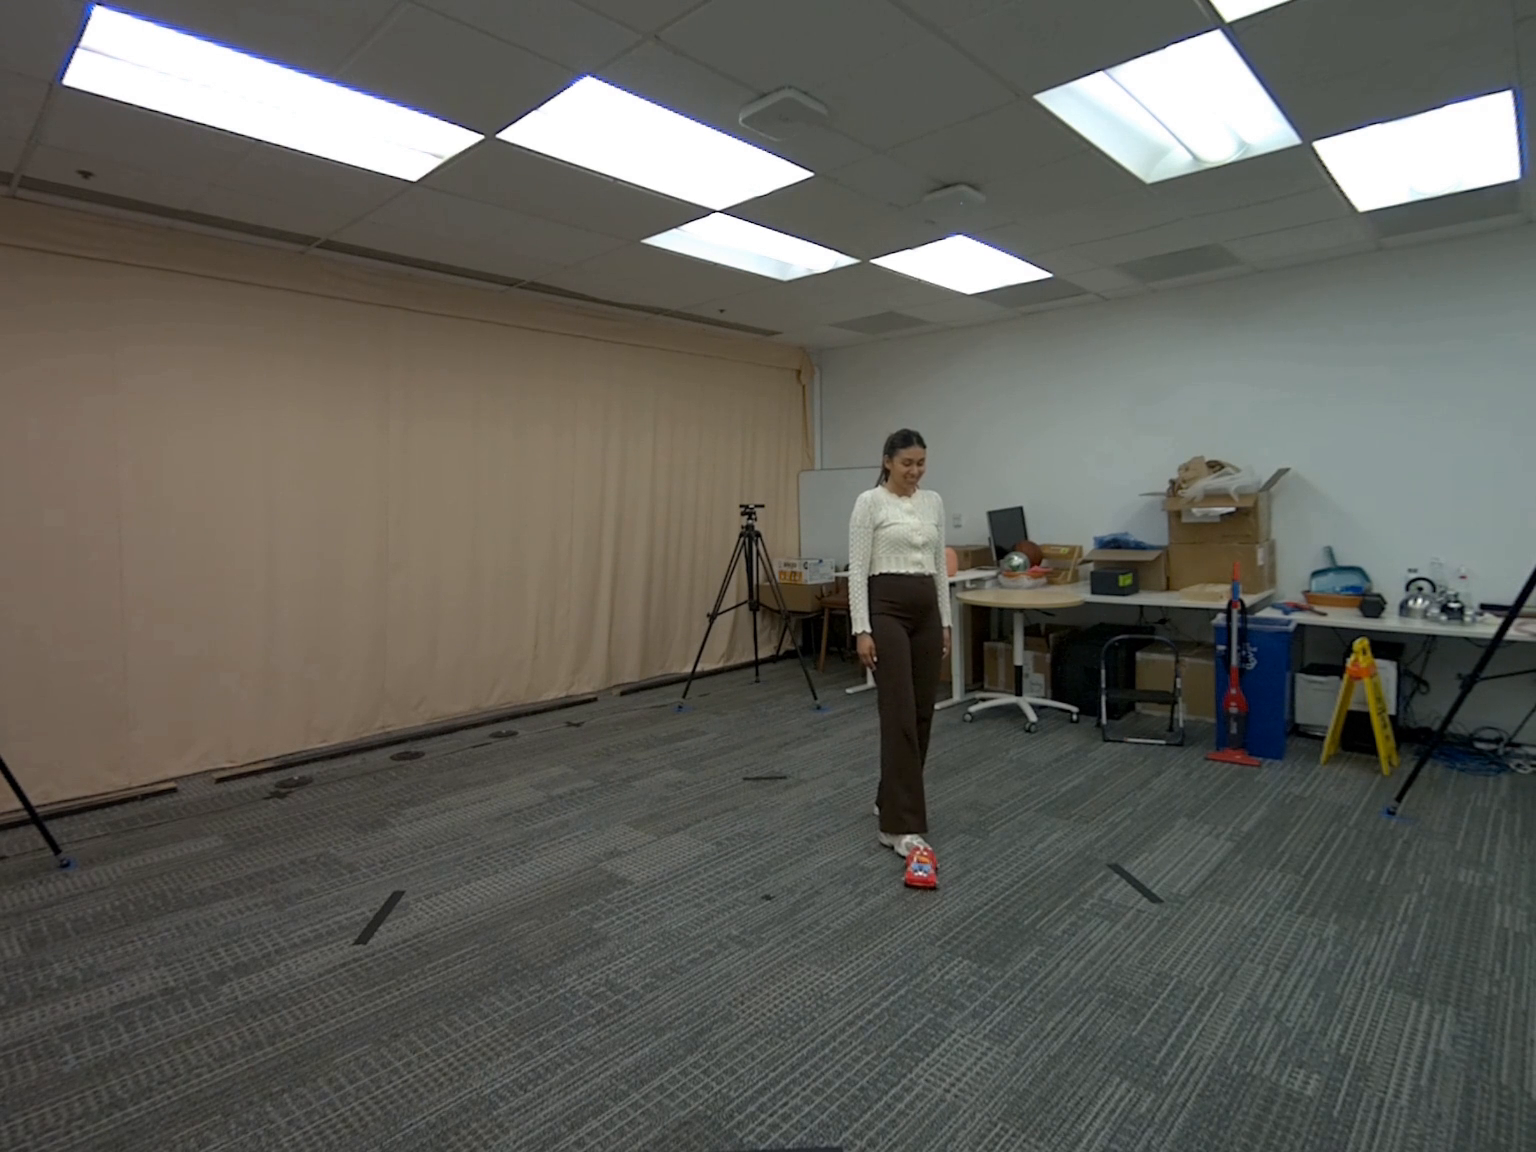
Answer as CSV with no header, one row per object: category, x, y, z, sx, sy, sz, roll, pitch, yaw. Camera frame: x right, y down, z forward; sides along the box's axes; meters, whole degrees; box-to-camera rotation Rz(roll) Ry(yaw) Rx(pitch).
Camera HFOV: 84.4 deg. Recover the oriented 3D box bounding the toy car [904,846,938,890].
toy car,0.566,1.080,3.128,0.132,0.082,0.254,0,16,11
